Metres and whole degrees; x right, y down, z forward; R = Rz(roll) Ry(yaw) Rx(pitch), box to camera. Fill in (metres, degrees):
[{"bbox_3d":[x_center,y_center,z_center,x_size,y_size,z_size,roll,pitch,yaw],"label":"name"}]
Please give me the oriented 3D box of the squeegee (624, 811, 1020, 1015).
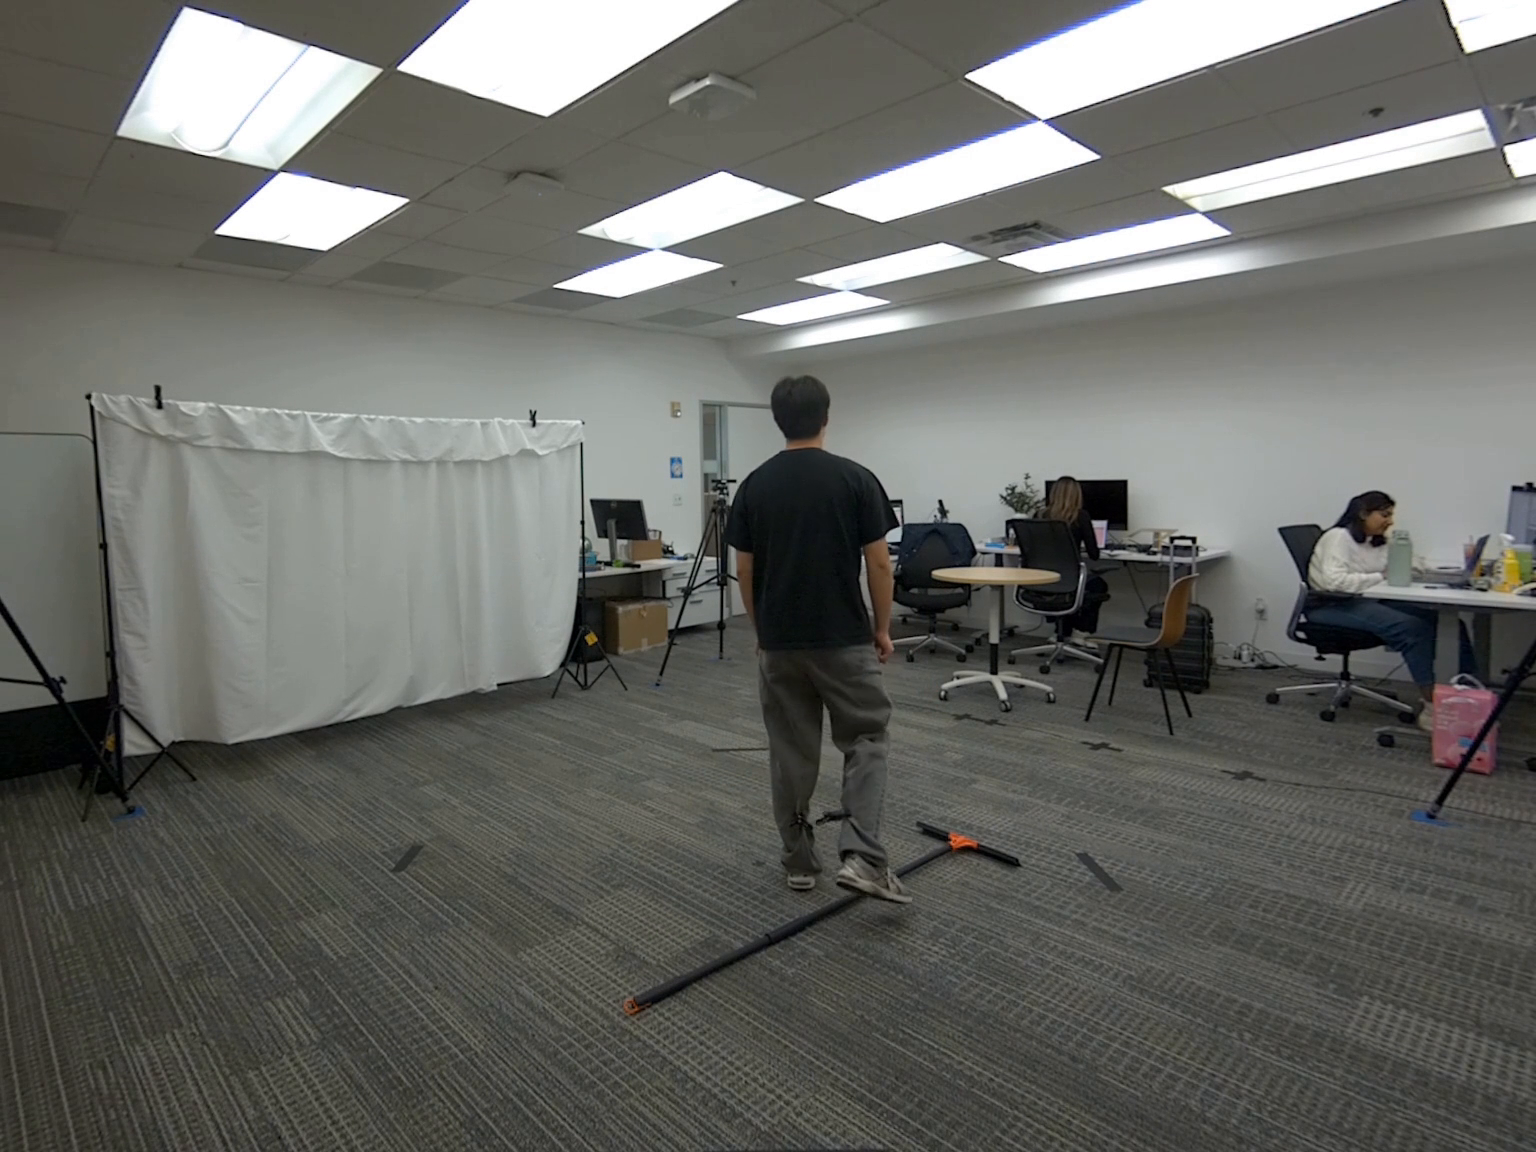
[{"bbox_3d":[0.203,1.053,2.733,1.499,0.053,0.451,-8,8,-40],"label":"squeegee"}]
